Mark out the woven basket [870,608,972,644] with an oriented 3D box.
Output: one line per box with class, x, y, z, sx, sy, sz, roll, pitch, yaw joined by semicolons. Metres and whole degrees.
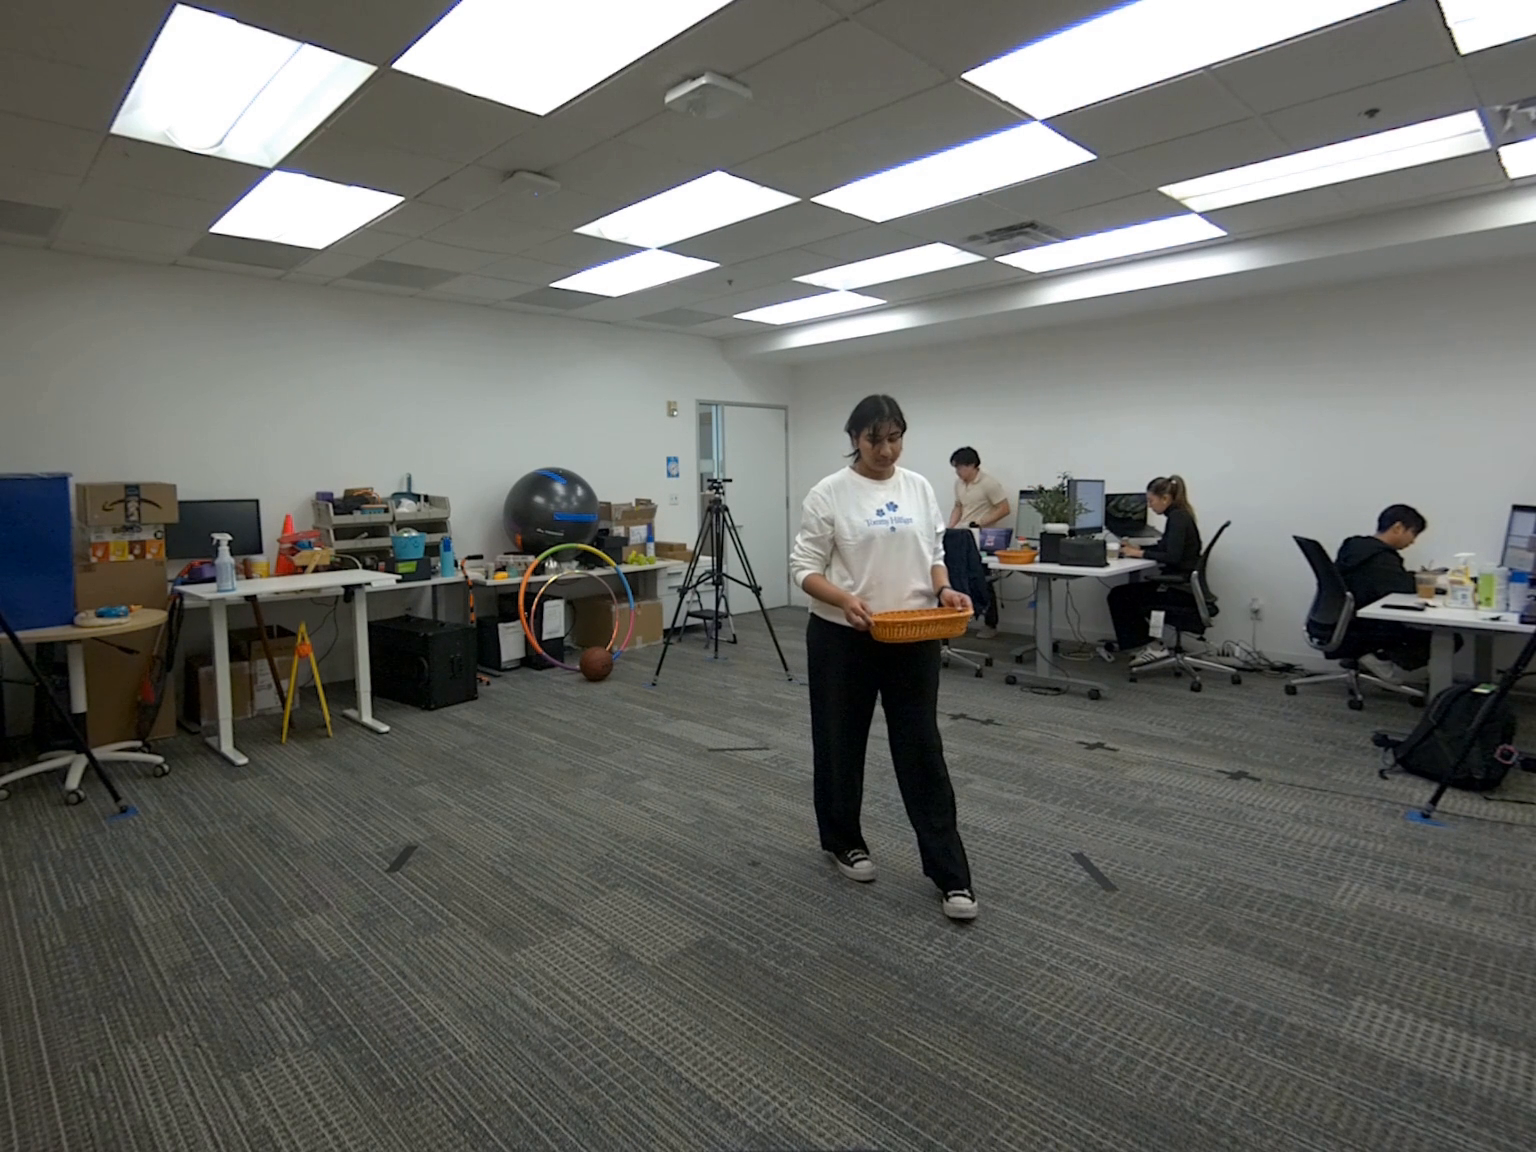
woven basket;0.480;0.149;2.663;0.344;0.073;0.258;-7;6;-22
